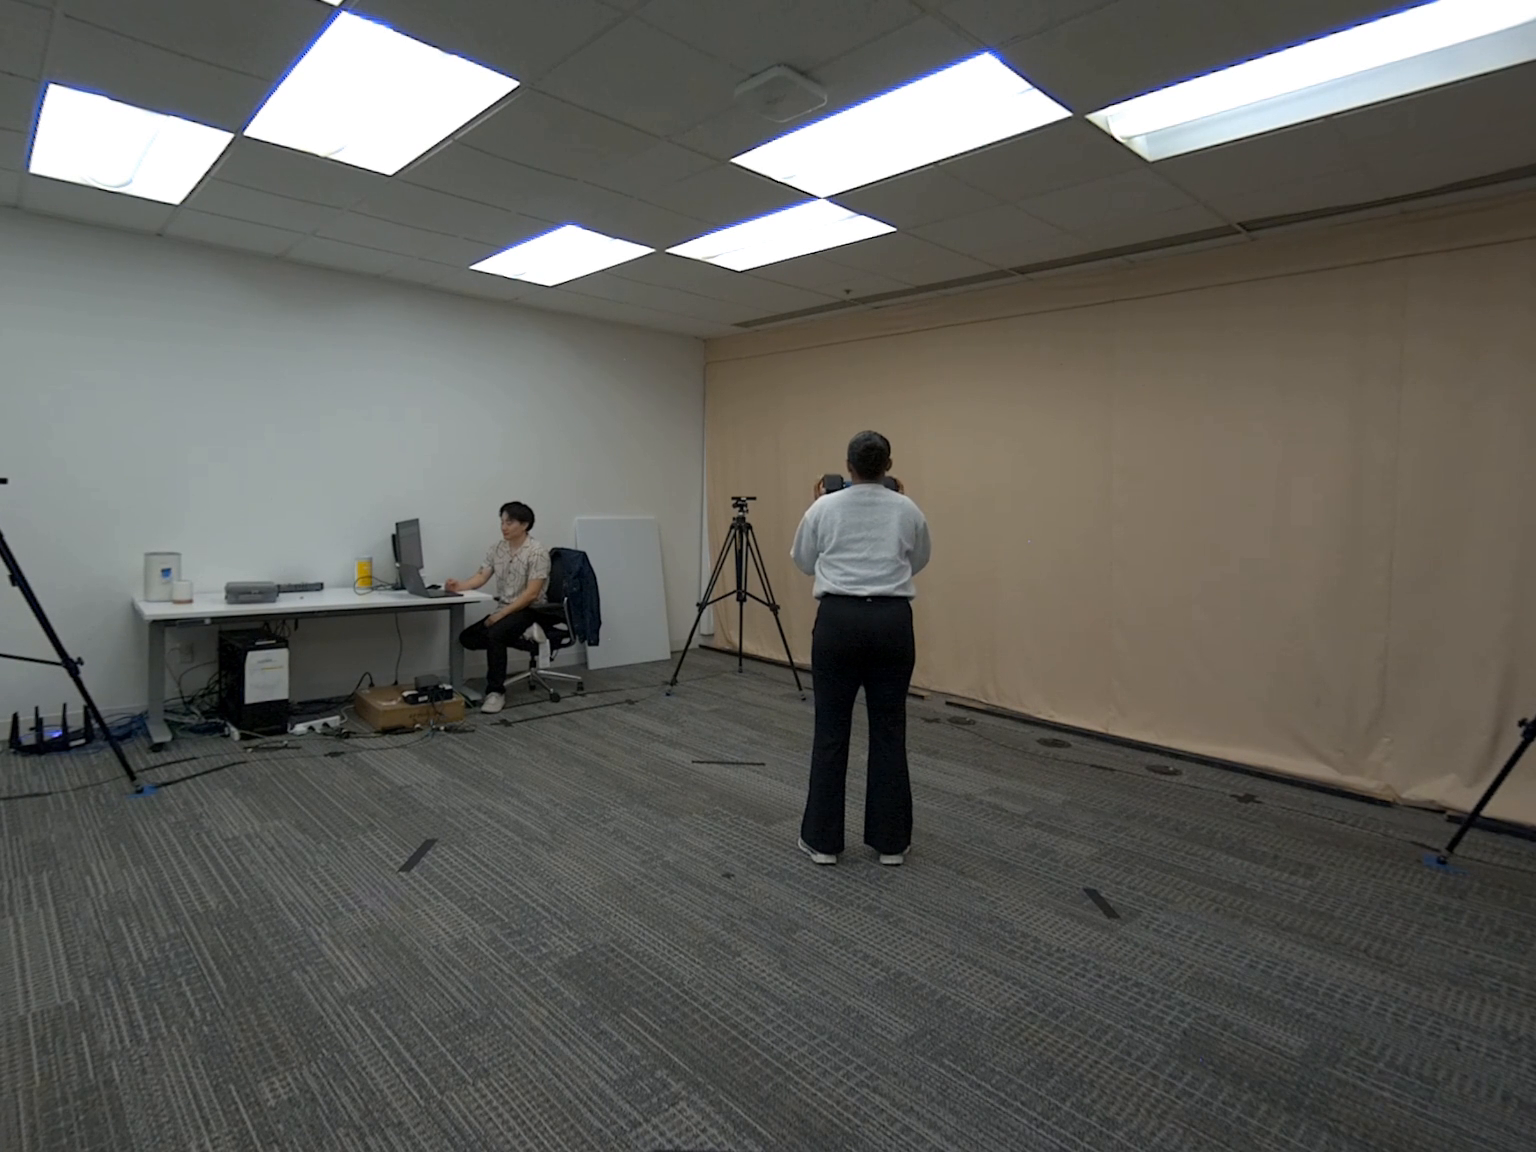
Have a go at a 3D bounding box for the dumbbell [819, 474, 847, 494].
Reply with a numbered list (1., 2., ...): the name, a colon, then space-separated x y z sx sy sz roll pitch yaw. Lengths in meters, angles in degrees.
1. dumbbell: 0.372 -0.343 3.461 0.294 0.120 0.111 3 43 1
